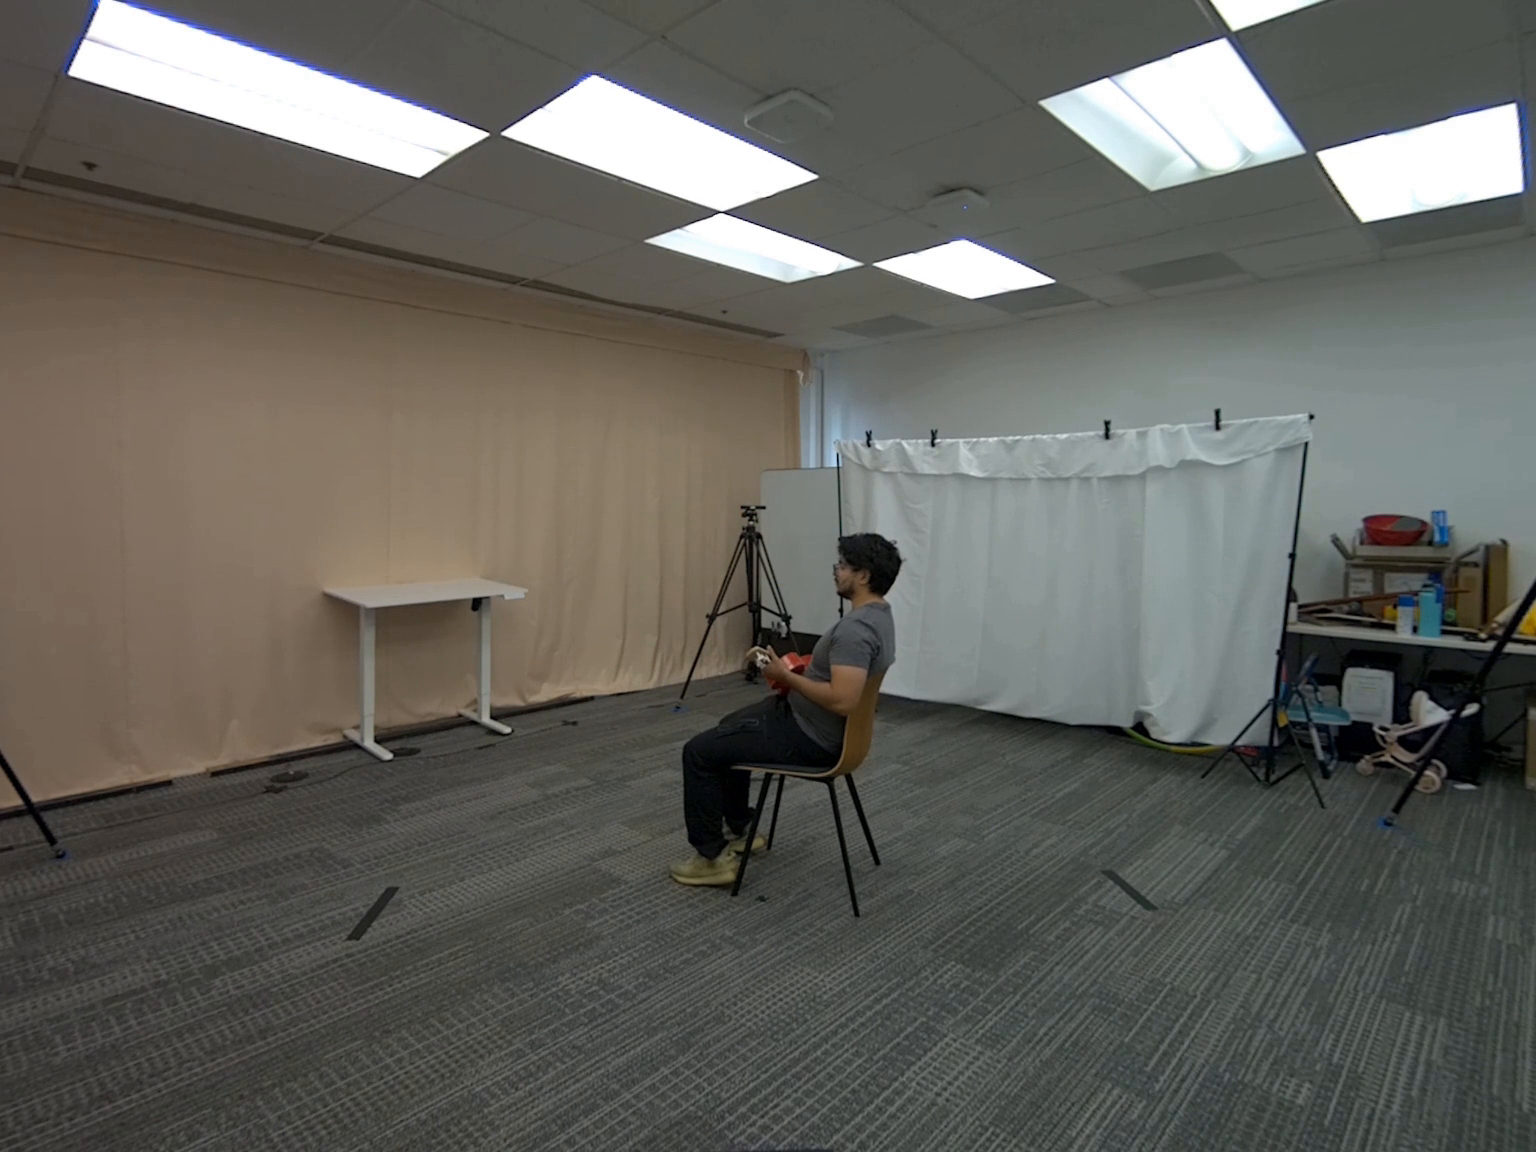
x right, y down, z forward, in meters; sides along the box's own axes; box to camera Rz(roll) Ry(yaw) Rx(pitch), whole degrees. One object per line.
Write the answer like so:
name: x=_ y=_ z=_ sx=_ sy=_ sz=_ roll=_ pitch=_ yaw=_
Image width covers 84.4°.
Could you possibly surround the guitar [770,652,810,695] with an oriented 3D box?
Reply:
guitar: x=0.027 y=0.352 z=3.062 sx=0.194 sy=0.072 sz=0.481 roll=-42 pitch=-27 yaw=18
